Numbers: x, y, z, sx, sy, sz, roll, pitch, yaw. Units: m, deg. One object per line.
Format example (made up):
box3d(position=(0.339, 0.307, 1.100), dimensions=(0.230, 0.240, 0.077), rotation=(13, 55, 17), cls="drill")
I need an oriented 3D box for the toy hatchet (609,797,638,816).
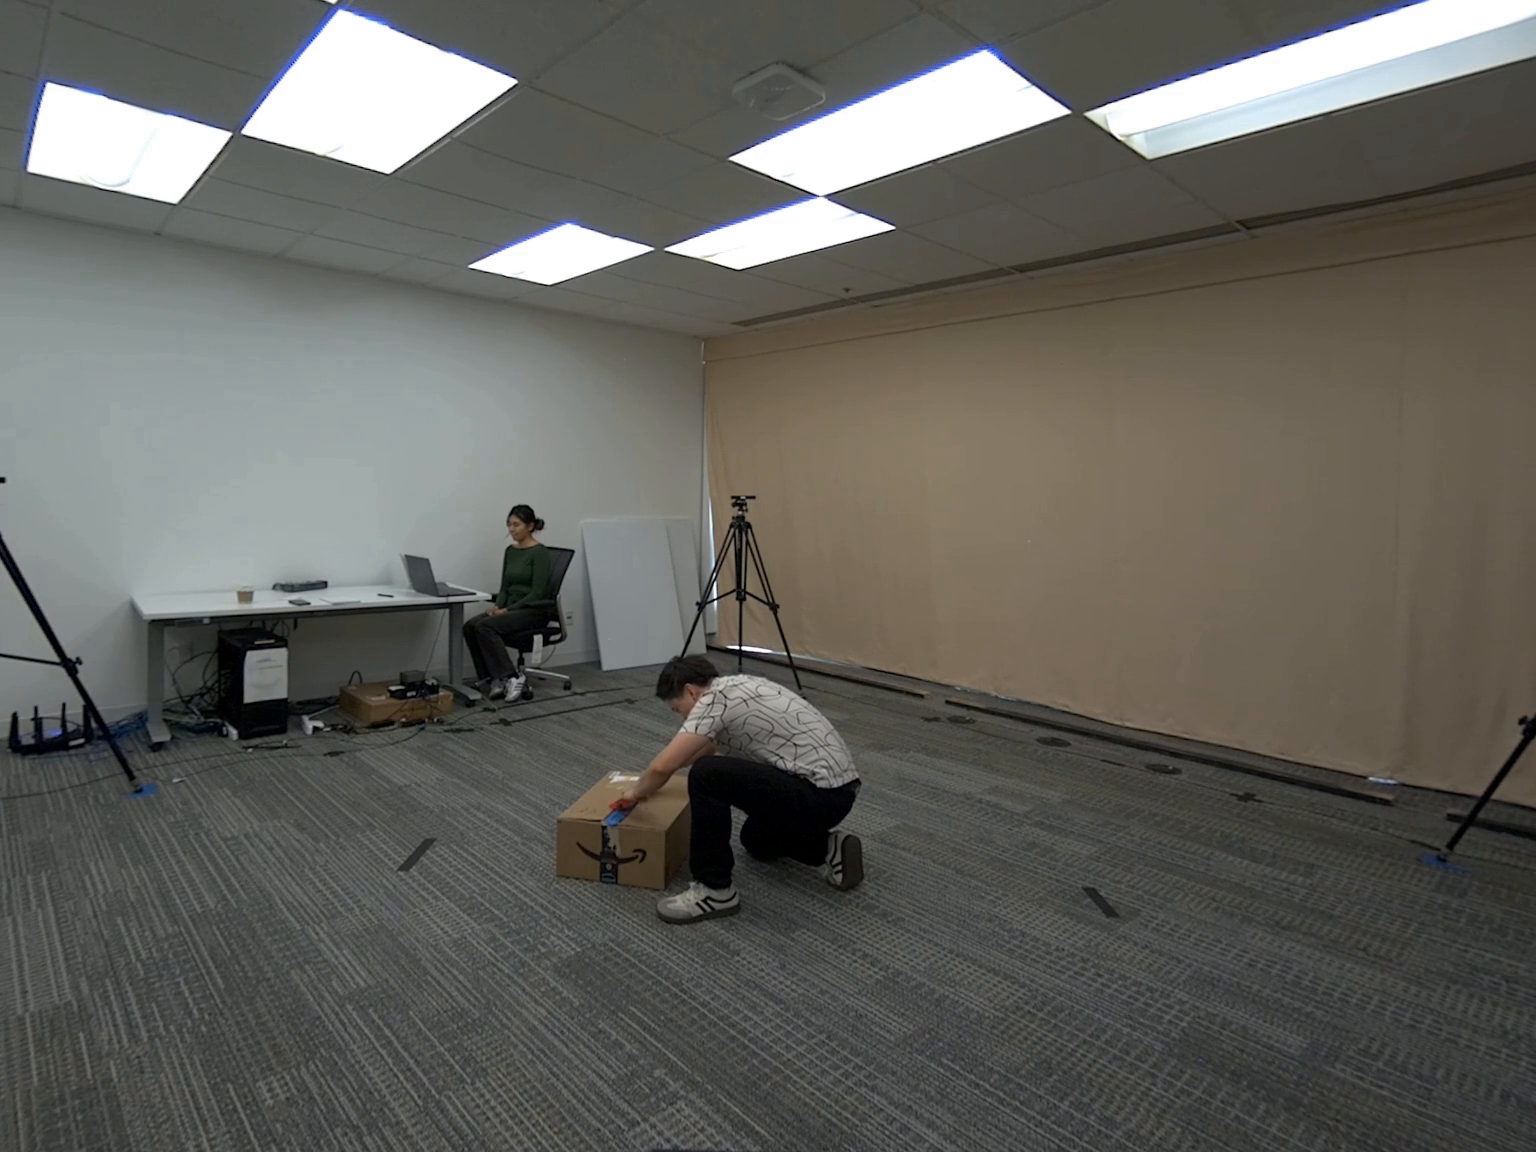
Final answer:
box3d(position=(-0.524, 0.827, 3.196), dimensions=(0.132, 0.030, 0.268), rotation=(-19, -2, 10), cls="toy hatchet")
